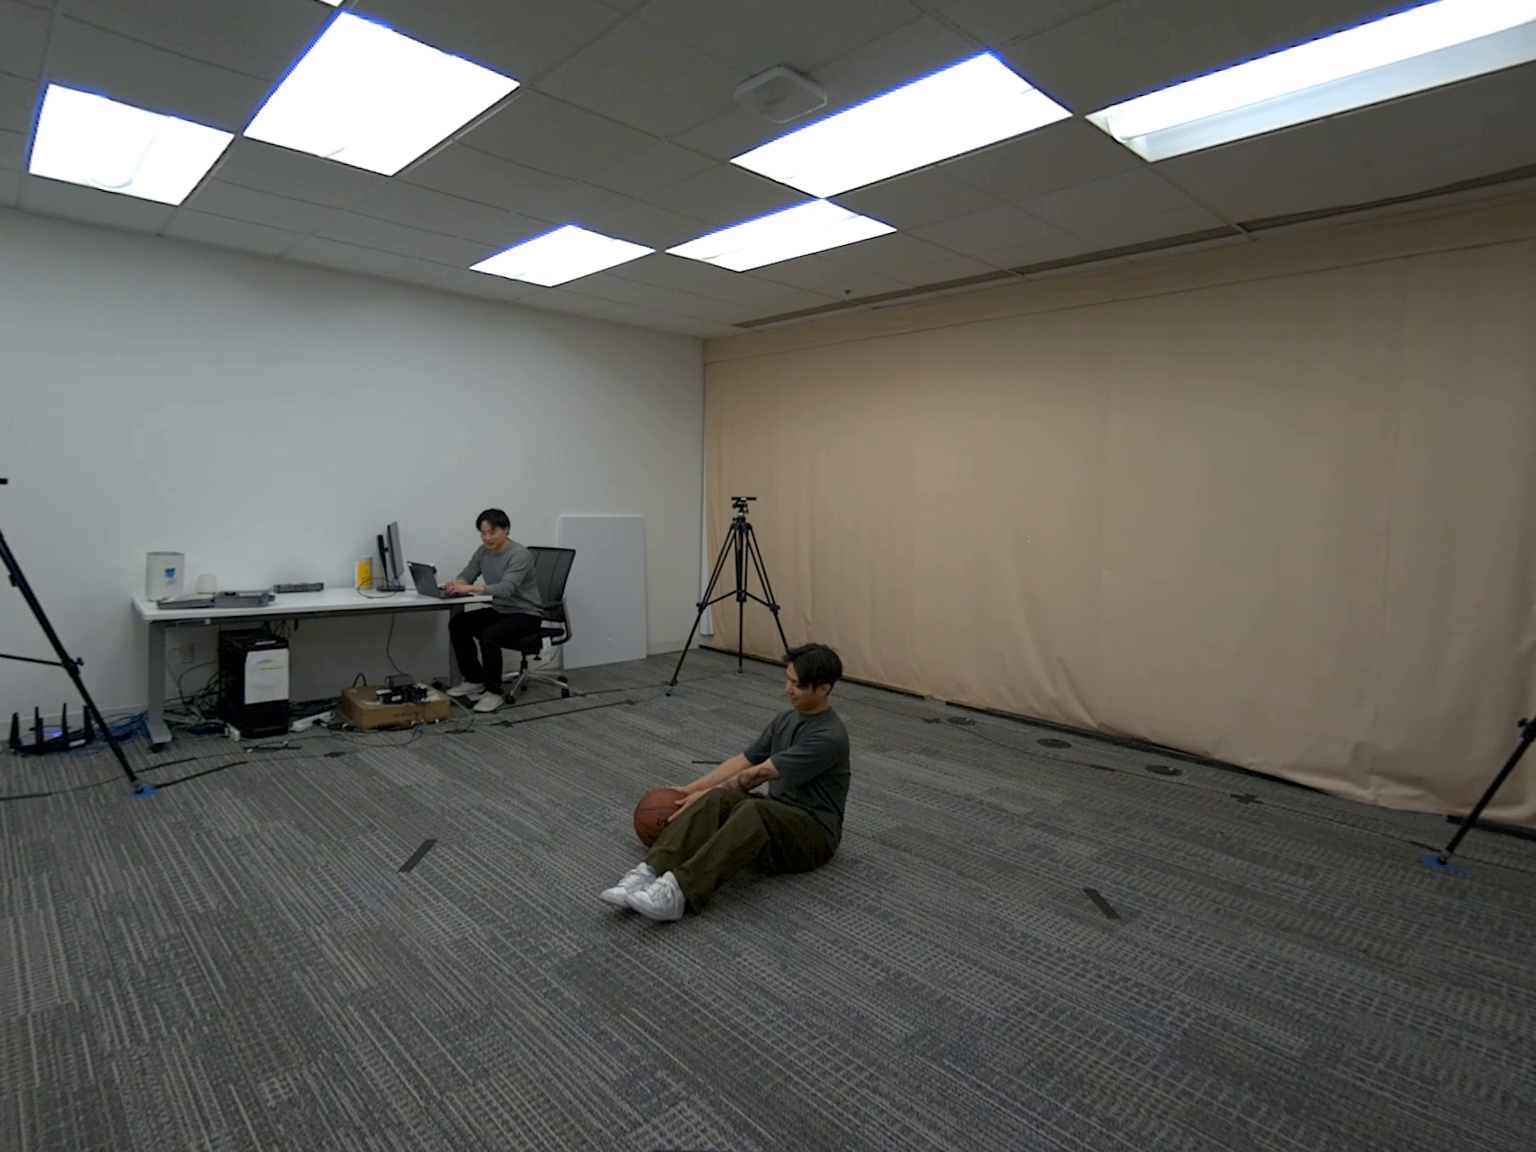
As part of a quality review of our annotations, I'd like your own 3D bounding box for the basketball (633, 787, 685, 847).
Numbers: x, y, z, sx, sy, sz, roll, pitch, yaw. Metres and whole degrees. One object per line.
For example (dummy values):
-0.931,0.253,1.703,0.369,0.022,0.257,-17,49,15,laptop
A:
-0.413,0.955,3.322,0.236,0.235,0.237,1,4,-1,basketball
